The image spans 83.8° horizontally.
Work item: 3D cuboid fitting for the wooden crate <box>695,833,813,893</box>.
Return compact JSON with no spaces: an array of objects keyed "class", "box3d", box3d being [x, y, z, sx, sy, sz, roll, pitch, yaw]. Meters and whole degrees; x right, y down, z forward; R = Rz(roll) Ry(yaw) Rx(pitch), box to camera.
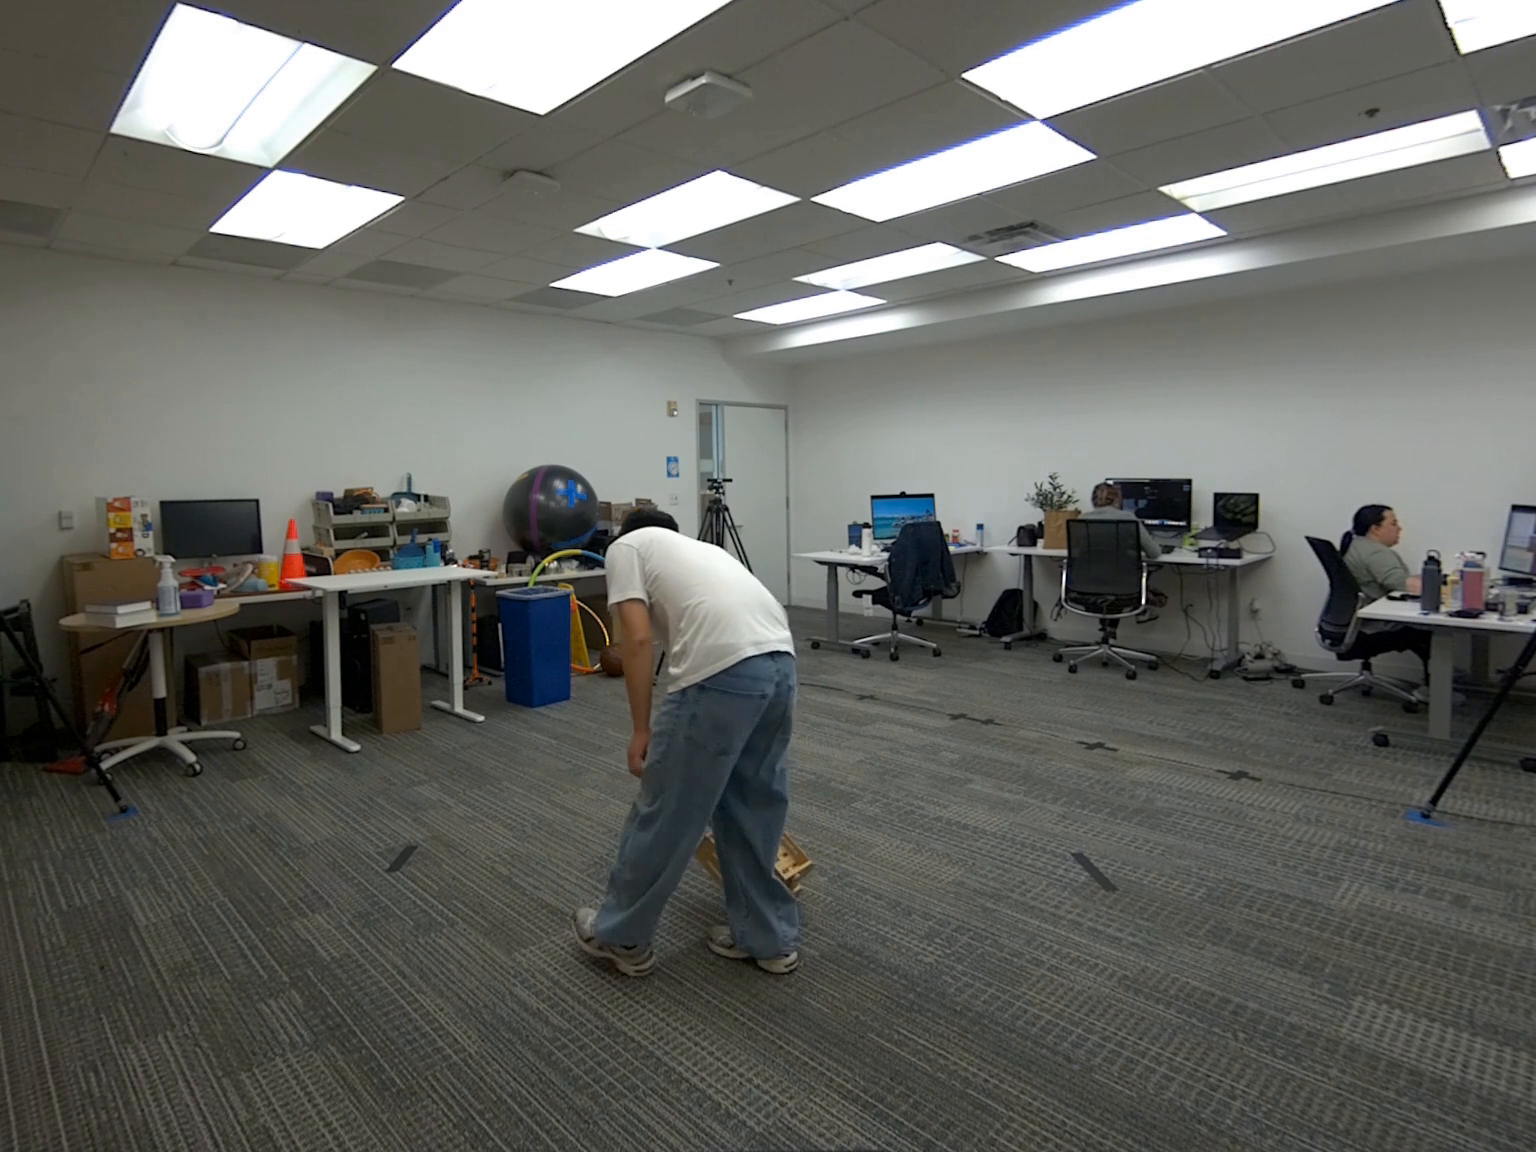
[{"class":"wooden crate","box3d":[-0.014,0.889,2.745,0.335,0.271,0.294,42,25,26]}]
